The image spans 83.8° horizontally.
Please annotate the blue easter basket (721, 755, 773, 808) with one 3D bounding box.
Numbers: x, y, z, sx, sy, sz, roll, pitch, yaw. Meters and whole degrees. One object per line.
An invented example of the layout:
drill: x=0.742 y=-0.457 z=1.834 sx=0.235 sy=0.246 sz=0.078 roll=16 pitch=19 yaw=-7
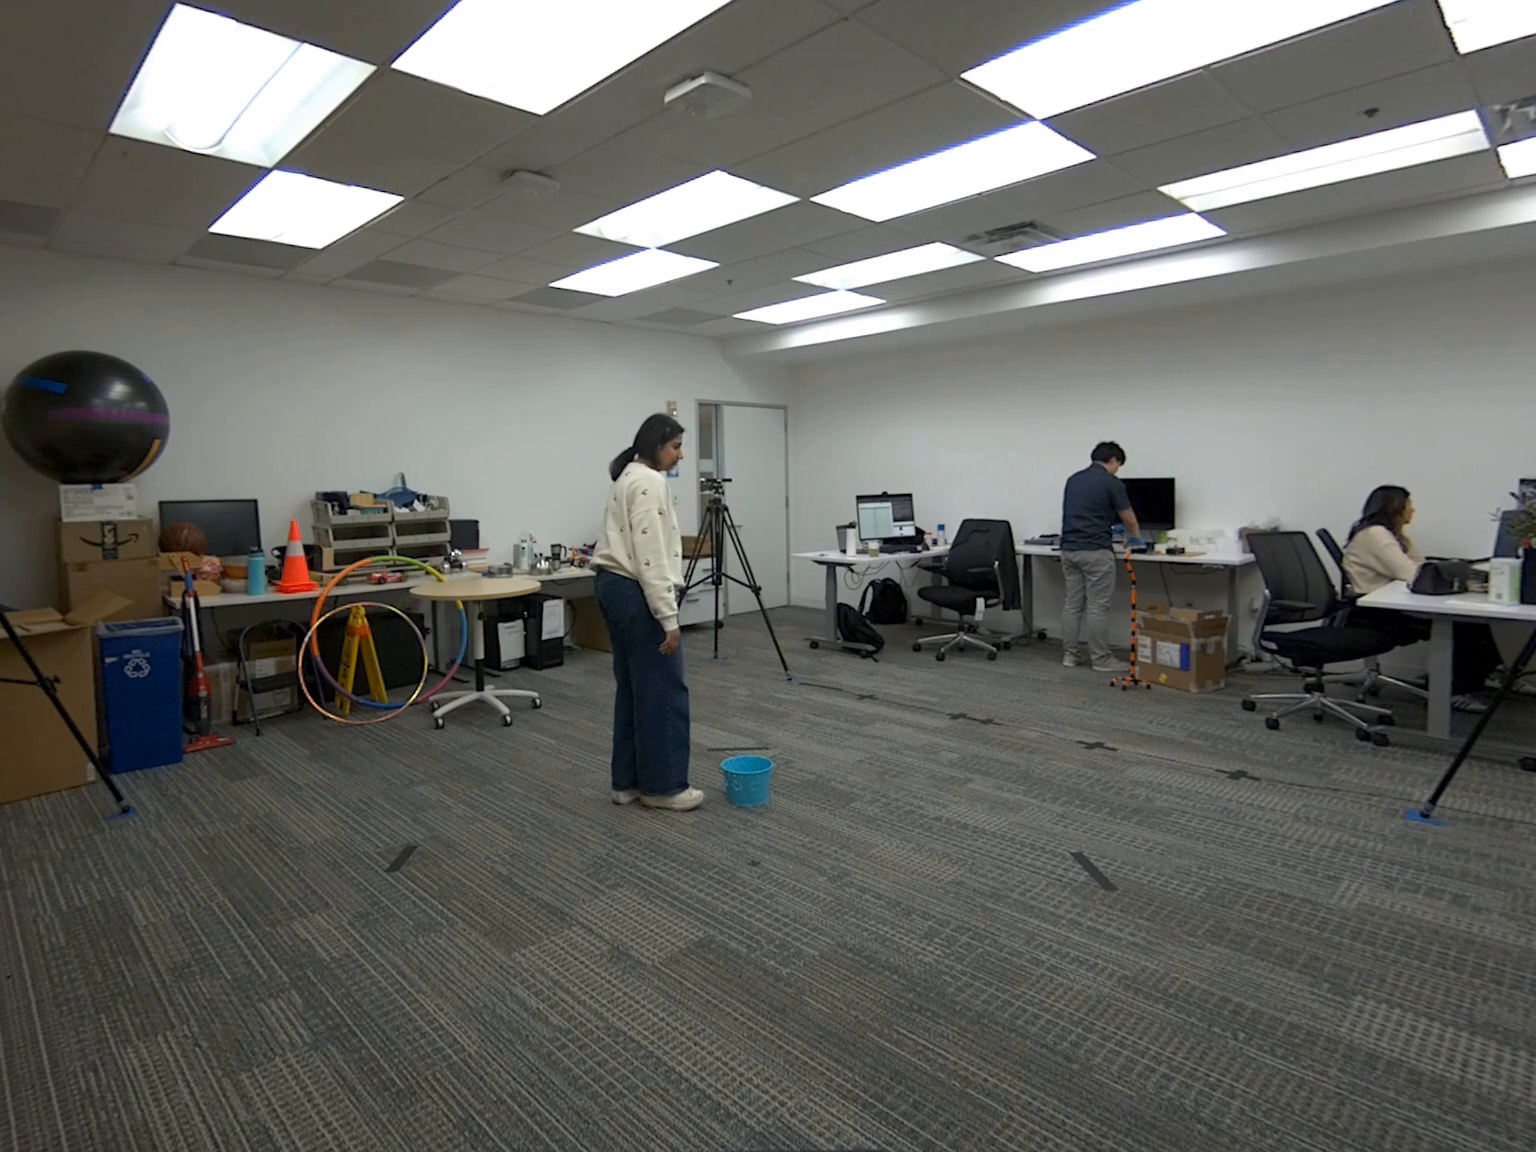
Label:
blue easter basket: x=-0.086 y=0.891 z=3.727 sx=0.243 sy=0.155 sz=0.245 roll=-2 pitch=6 yaw=-2
